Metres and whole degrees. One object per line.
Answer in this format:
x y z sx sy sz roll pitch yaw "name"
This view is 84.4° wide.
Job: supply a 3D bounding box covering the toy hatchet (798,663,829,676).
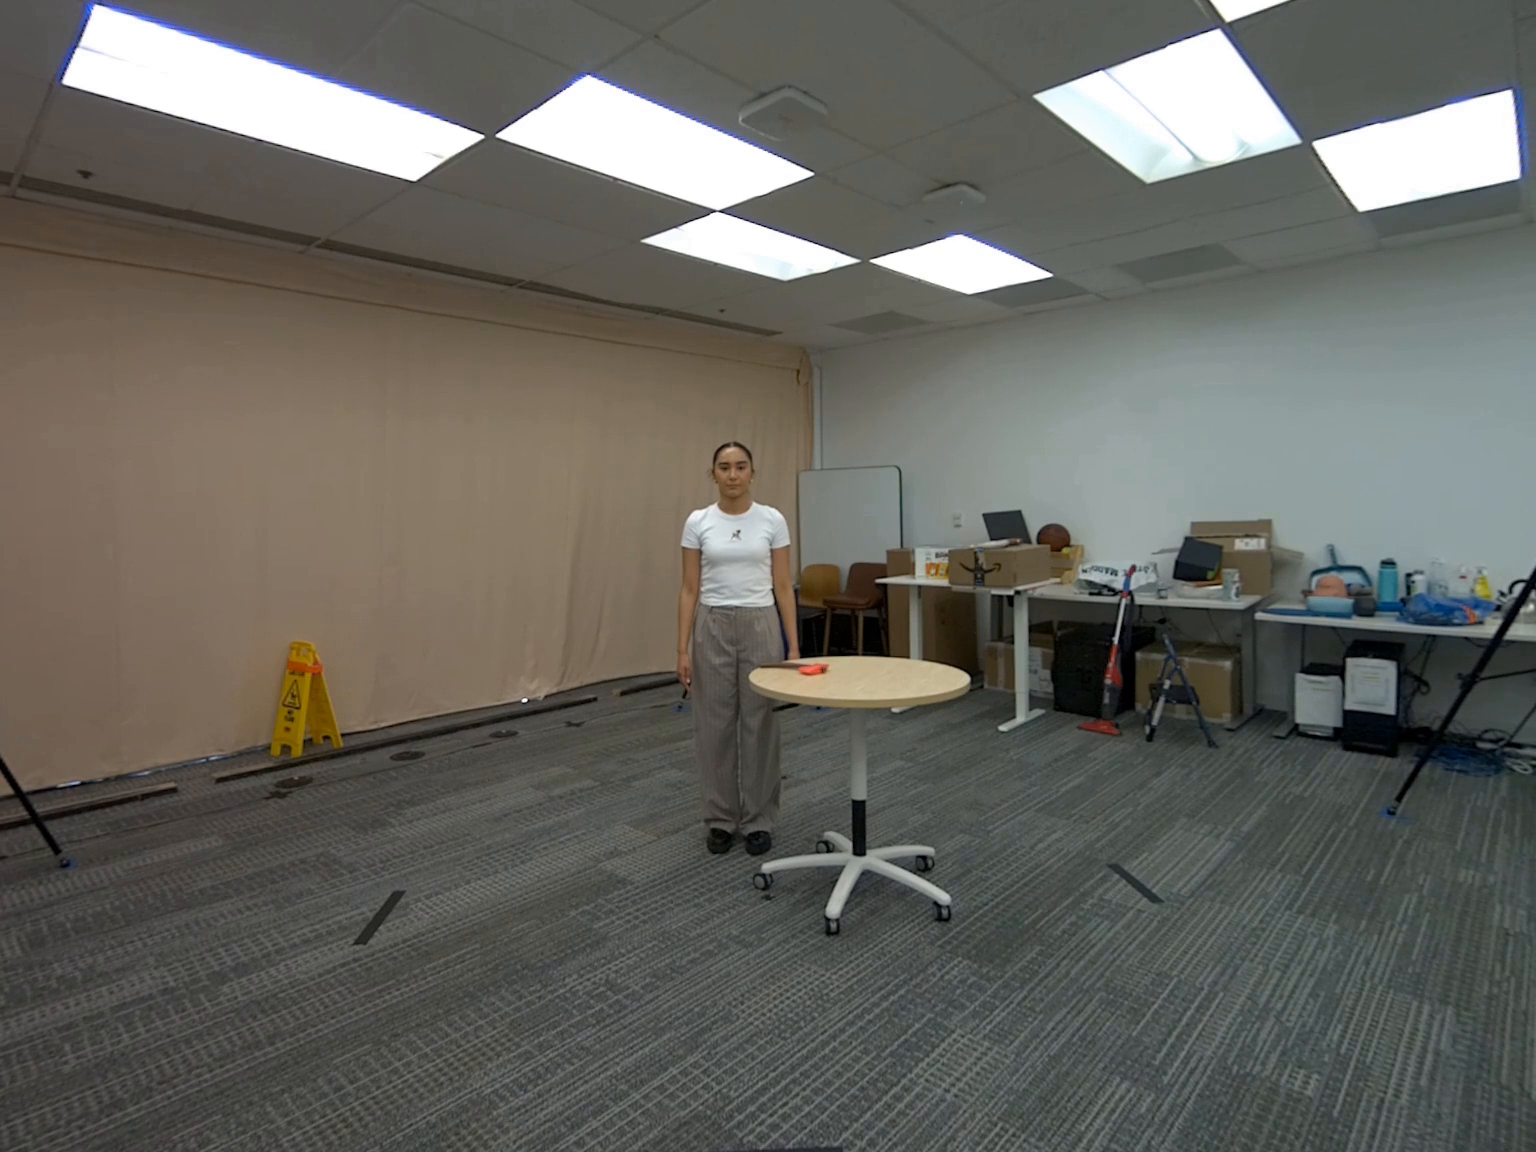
0.087 0.339 3.073 0.276 0.029 0.129 -2 8 22 "toy hatchet"
